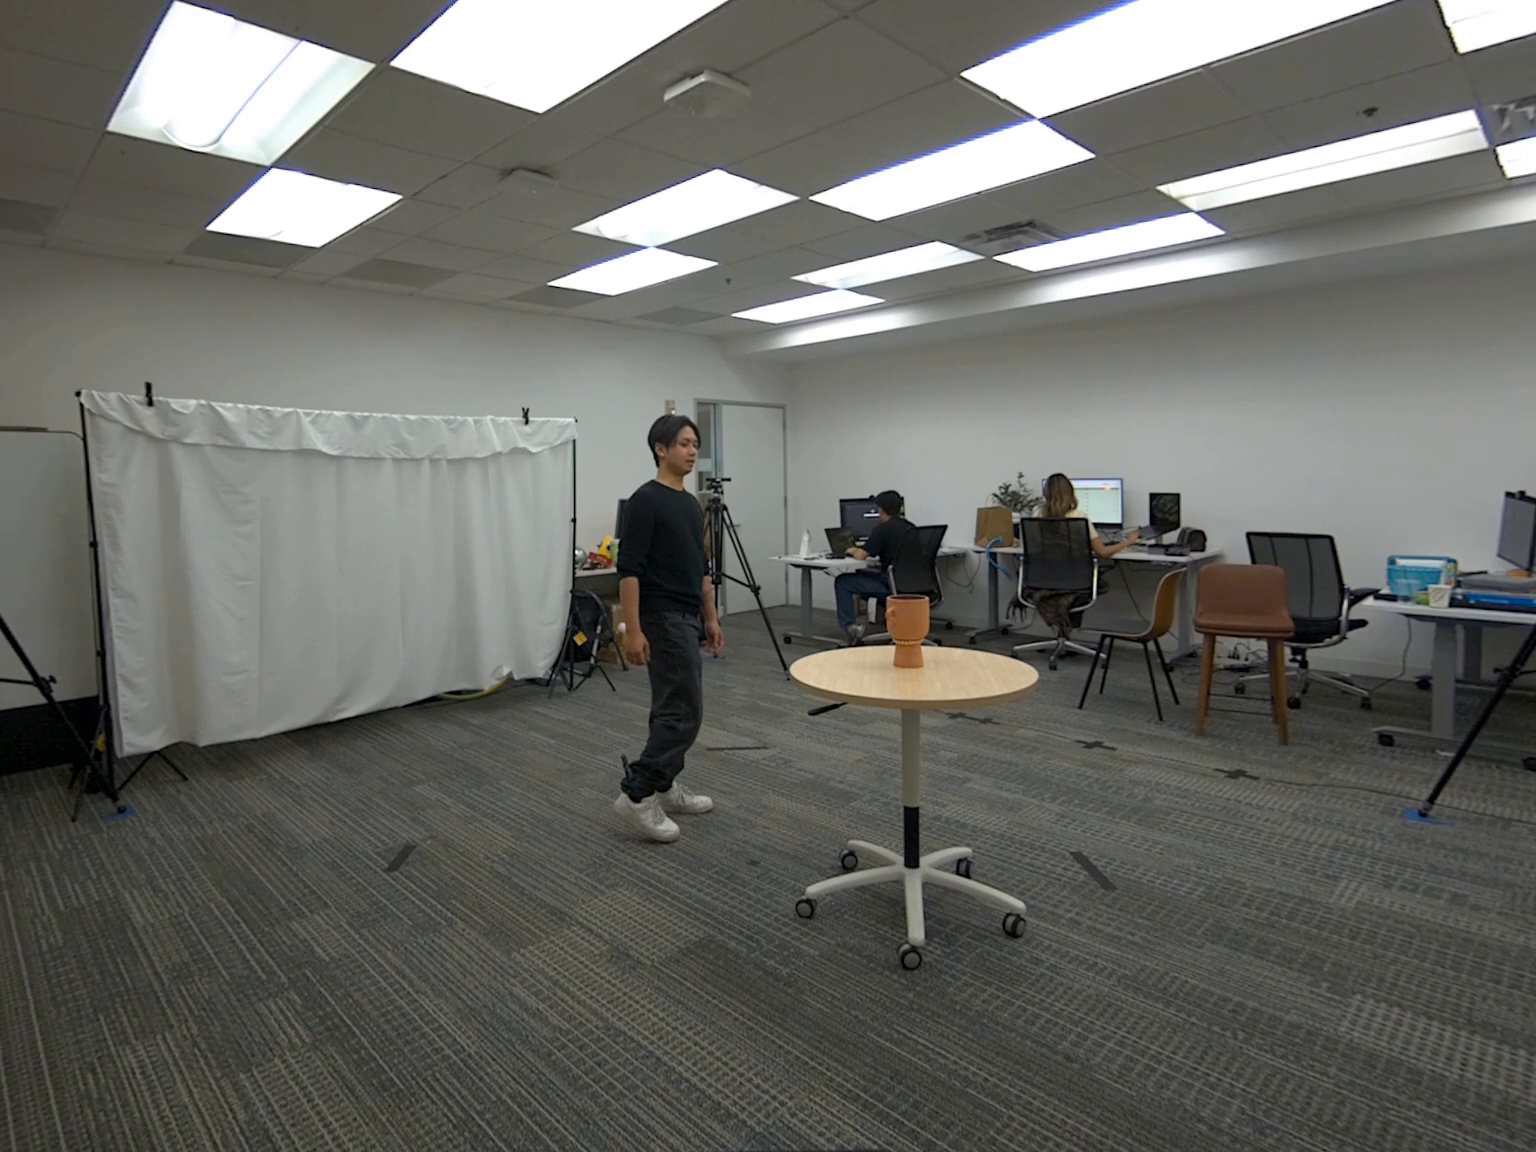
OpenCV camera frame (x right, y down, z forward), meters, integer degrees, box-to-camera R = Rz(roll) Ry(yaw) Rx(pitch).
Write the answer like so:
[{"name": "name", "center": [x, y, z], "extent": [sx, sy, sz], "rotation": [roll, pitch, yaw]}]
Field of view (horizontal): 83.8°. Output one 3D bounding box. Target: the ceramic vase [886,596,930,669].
[{"name": "ceramic vase", "center": [0.460, 0.180, 2.765], "extent": [0.159, 0.219, 0.135], "rotation": [-2, 3, 1]}]
